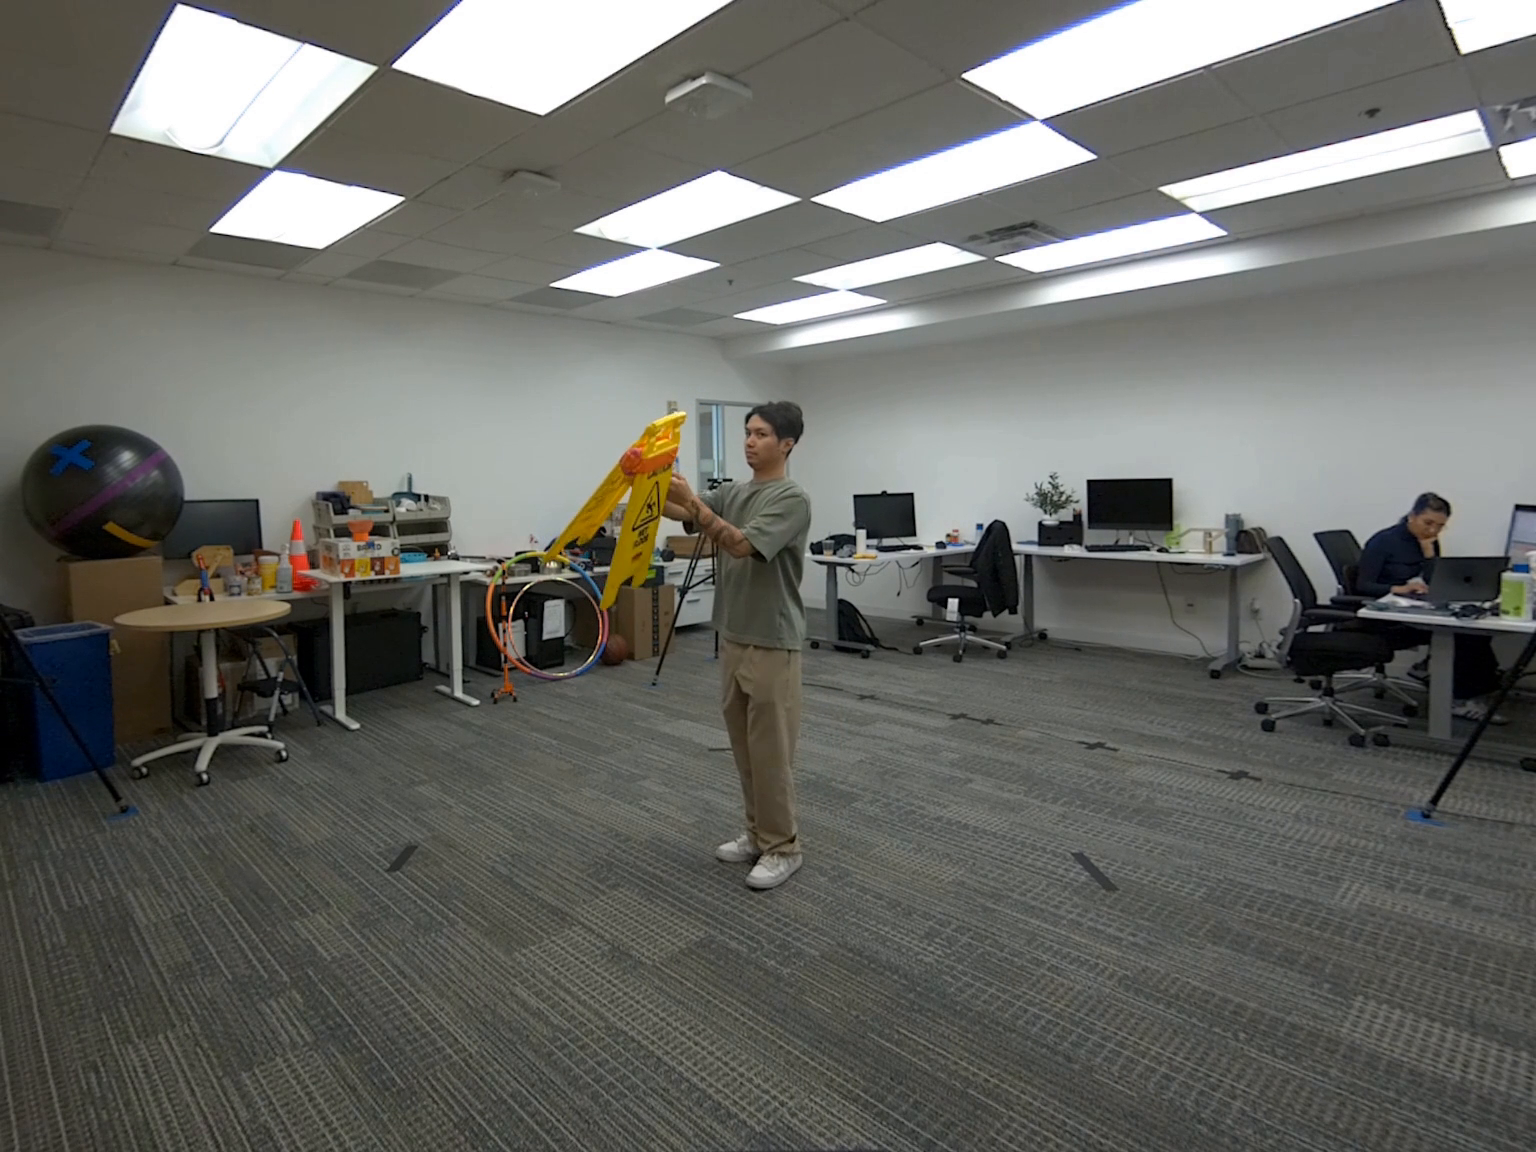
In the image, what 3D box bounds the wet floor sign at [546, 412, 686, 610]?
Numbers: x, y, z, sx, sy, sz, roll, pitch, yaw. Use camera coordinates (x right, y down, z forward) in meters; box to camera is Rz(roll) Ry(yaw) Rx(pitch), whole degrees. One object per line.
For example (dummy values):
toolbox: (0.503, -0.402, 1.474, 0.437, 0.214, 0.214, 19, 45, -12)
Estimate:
wet floor sign: (-0.441, -0.245, 2.763, 0.294, 0.641, 0.280, 36, 30, 9)
